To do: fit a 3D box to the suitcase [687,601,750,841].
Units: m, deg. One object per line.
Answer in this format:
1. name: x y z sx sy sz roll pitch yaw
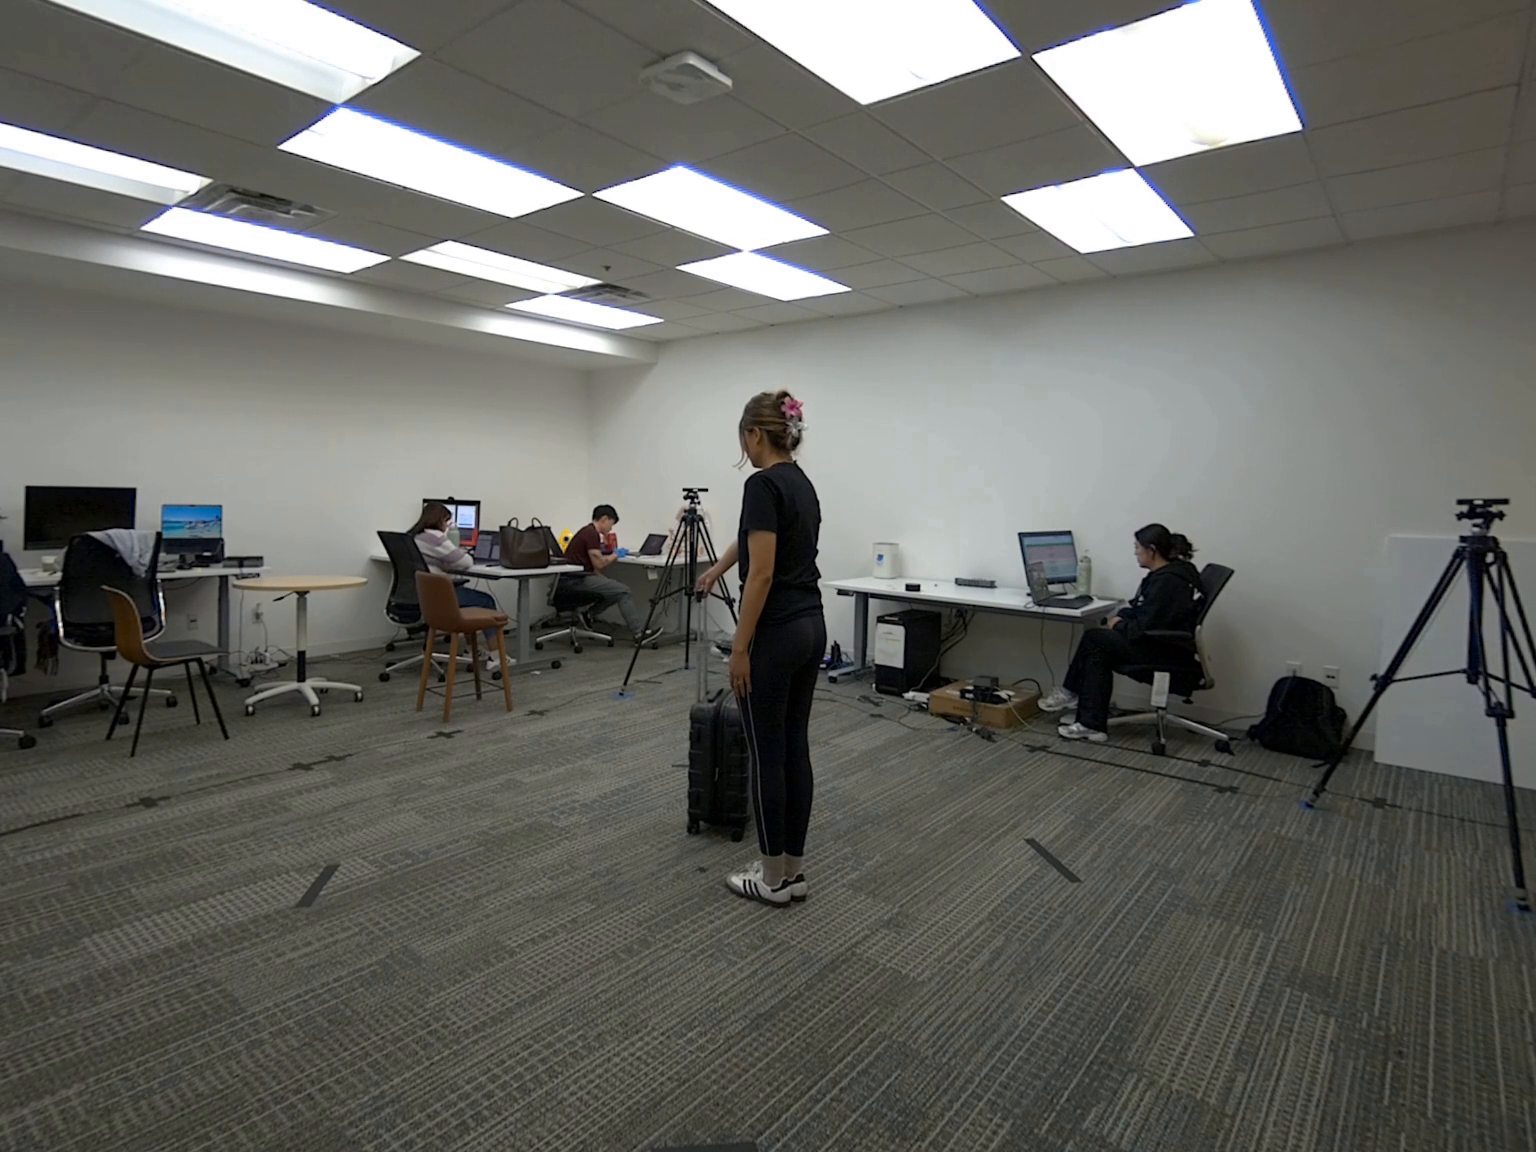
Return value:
1. suitcase: -0.181 0.555 3.521 0.260 0.975 0.380 2 4 11
